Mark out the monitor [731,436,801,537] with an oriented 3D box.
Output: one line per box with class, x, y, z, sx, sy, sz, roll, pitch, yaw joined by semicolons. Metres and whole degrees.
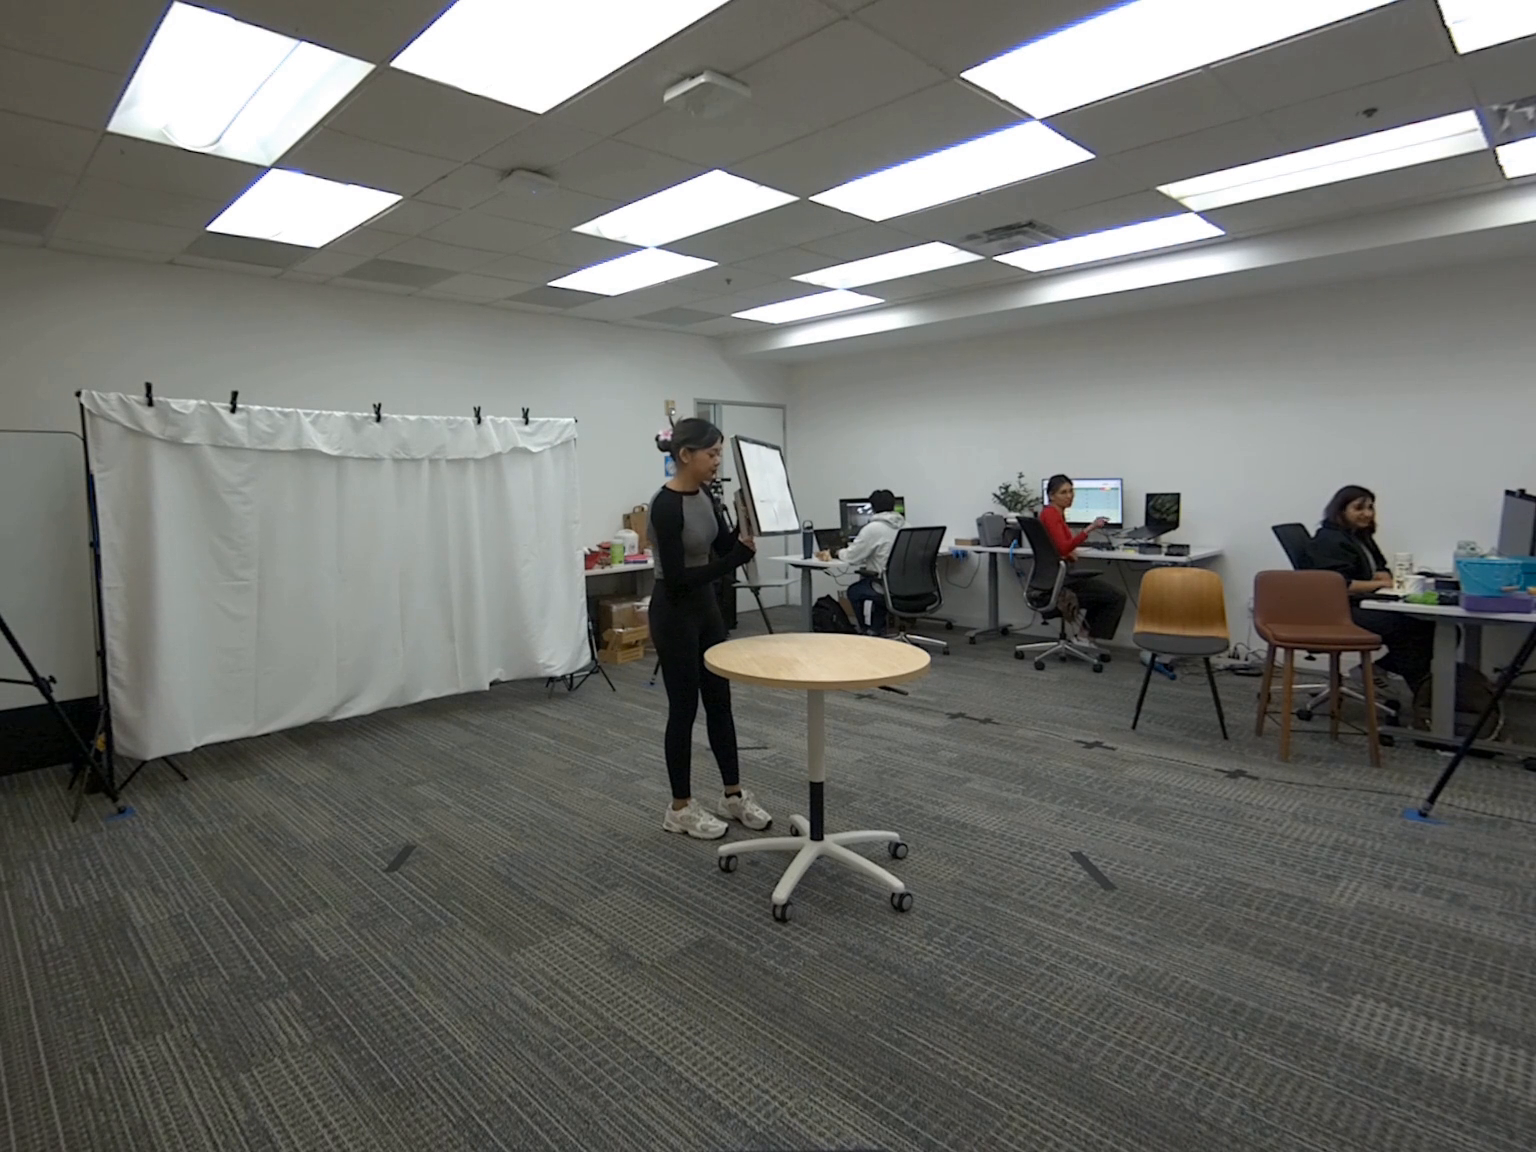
monitor;-0.029;-0.240;3.211;0.190;0.522;0.531;-3;2;16
